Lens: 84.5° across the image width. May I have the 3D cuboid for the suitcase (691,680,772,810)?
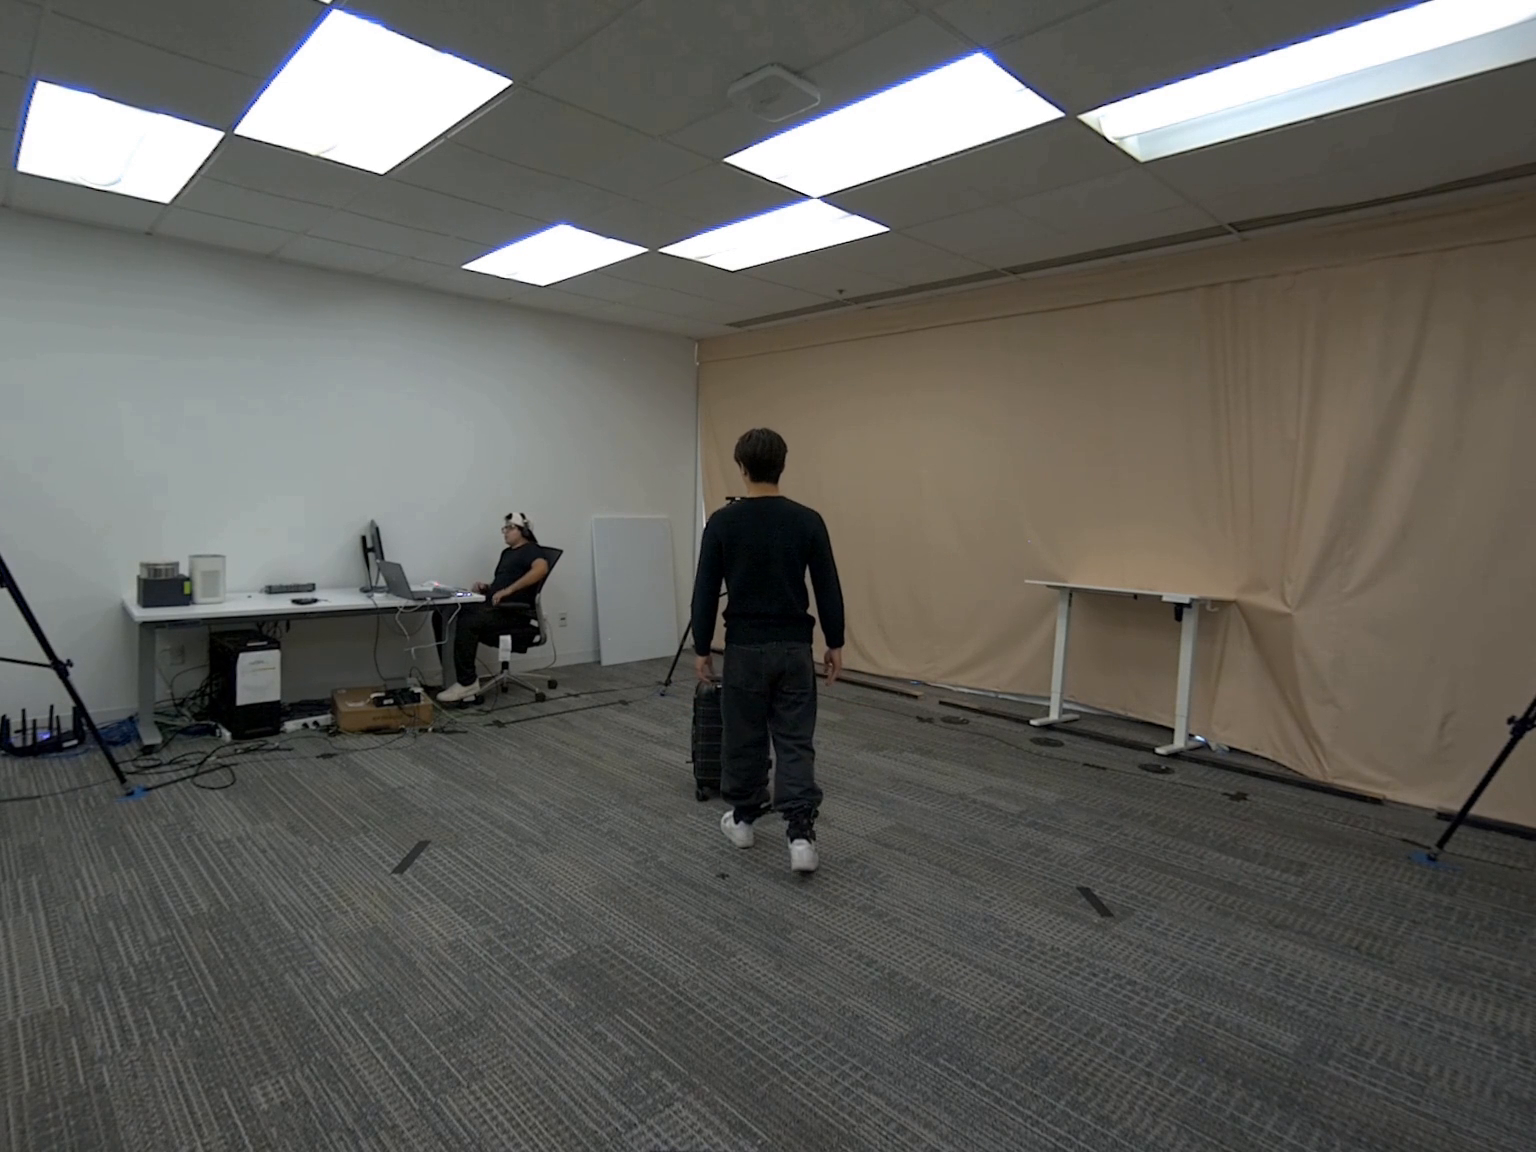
[{"bbox_3d":[-0.182,0.752,4.003,0.375,0.549,0.249,1,2,-2],"label":"suitcase"}]
